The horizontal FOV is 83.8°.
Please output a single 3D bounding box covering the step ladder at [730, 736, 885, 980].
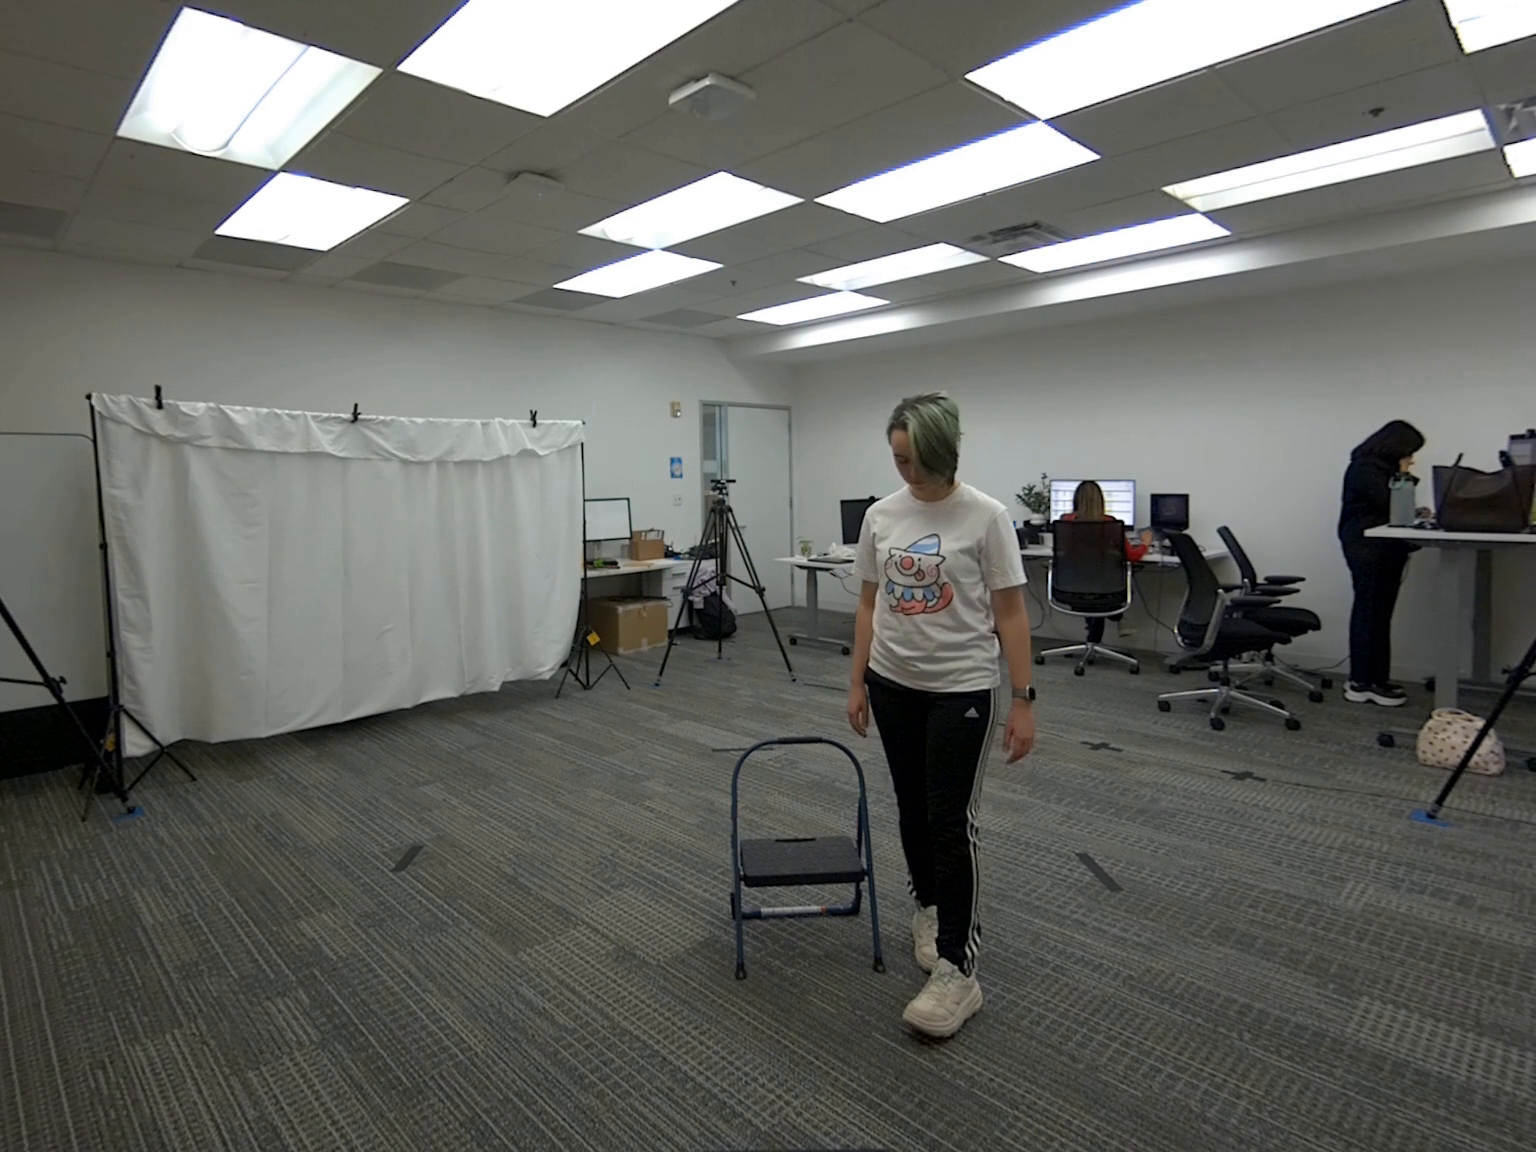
[{"bbox_3d":[0.104,0.808,2.558,0.429,0.603,0.352,-1,5,-4],"label":"step ladder"}]
